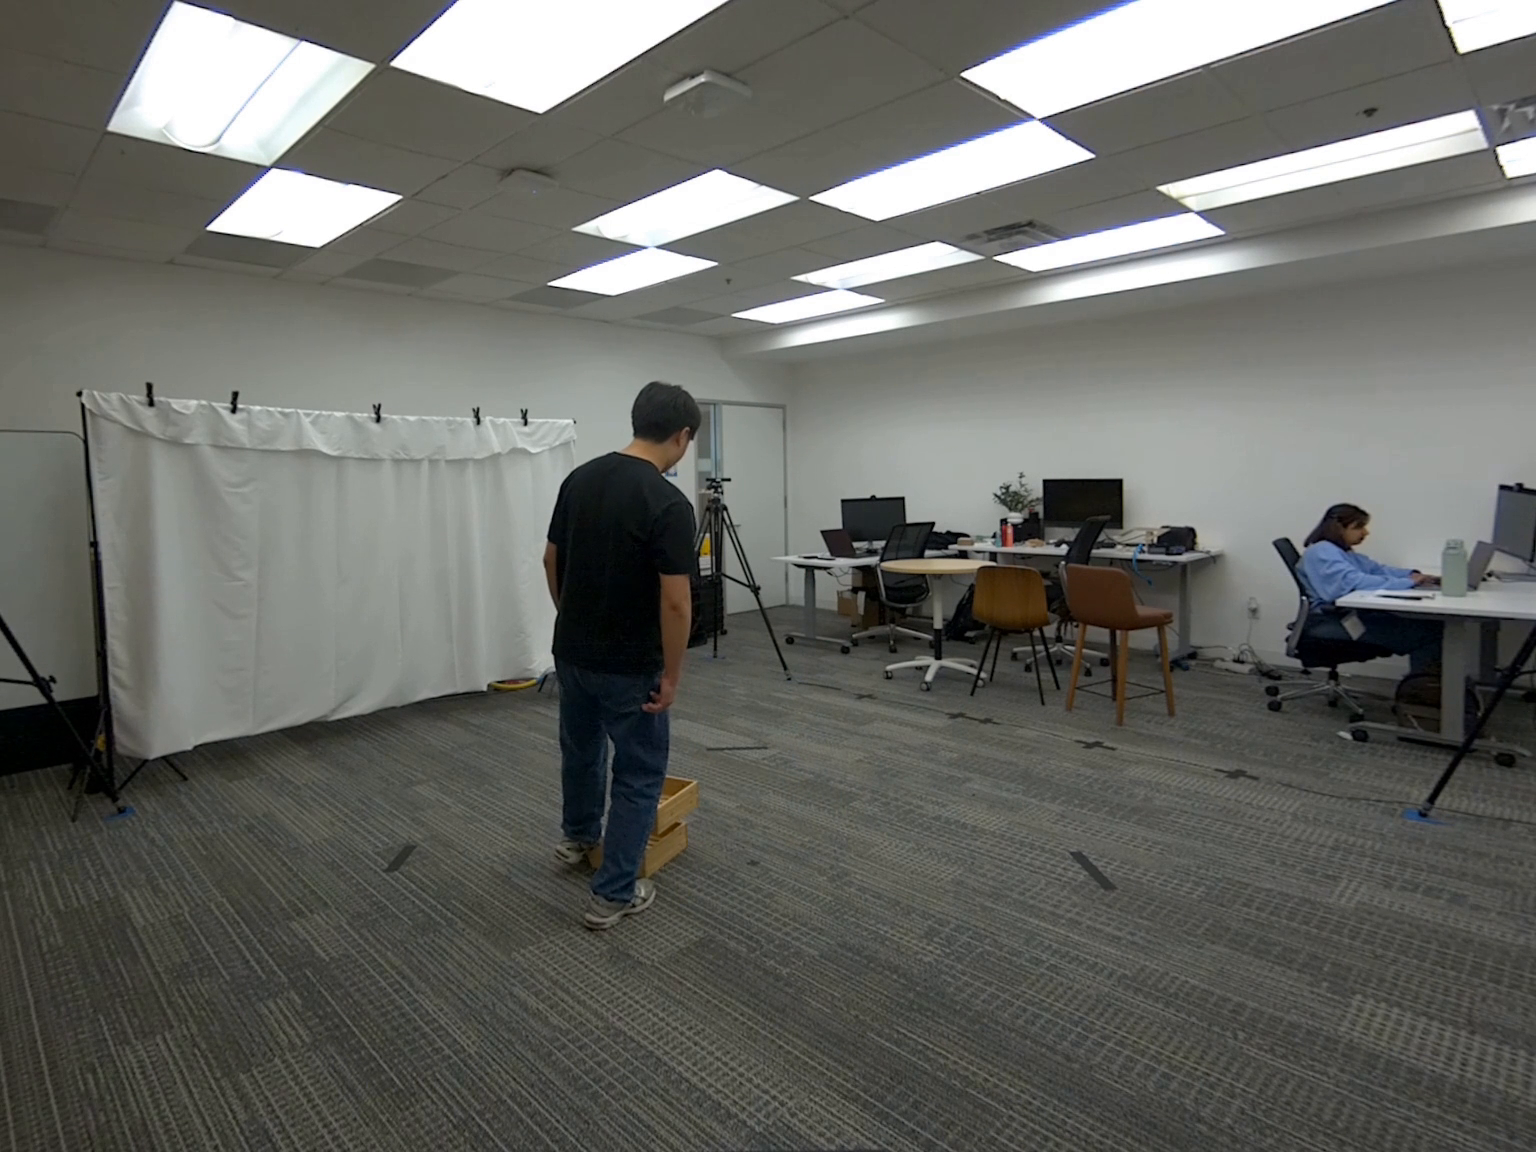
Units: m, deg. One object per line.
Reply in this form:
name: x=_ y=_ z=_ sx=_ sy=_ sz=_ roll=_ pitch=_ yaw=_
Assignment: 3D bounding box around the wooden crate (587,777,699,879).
wooden crate: x=-0.457 y=0.911 z=3.155 sx=0.309 sy=0.272 sz=0.318 roll=2 pitch=6 yaw=25
